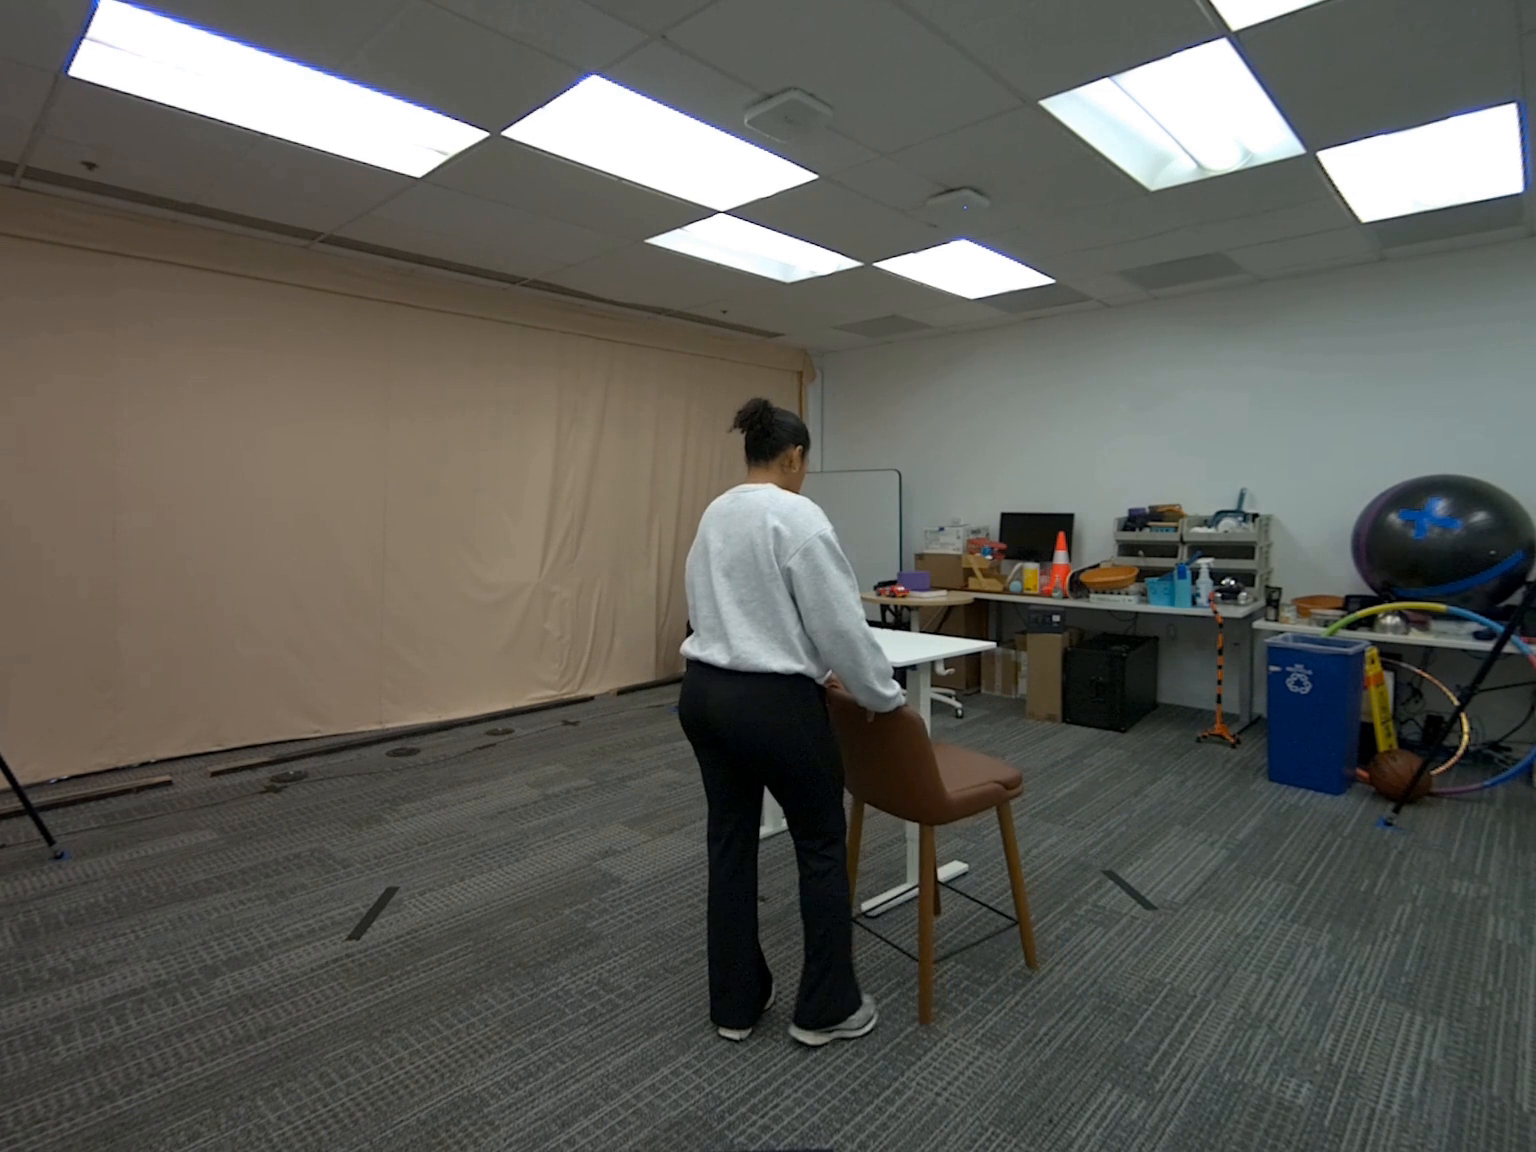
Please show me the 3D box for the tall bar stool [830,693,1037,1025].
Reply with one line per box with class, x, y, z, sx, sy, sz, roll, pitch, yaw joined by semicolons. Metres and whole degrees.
tall bar stool;0.457;0.733;2.477;0.456;0.885;0.470;-10;8;-32
